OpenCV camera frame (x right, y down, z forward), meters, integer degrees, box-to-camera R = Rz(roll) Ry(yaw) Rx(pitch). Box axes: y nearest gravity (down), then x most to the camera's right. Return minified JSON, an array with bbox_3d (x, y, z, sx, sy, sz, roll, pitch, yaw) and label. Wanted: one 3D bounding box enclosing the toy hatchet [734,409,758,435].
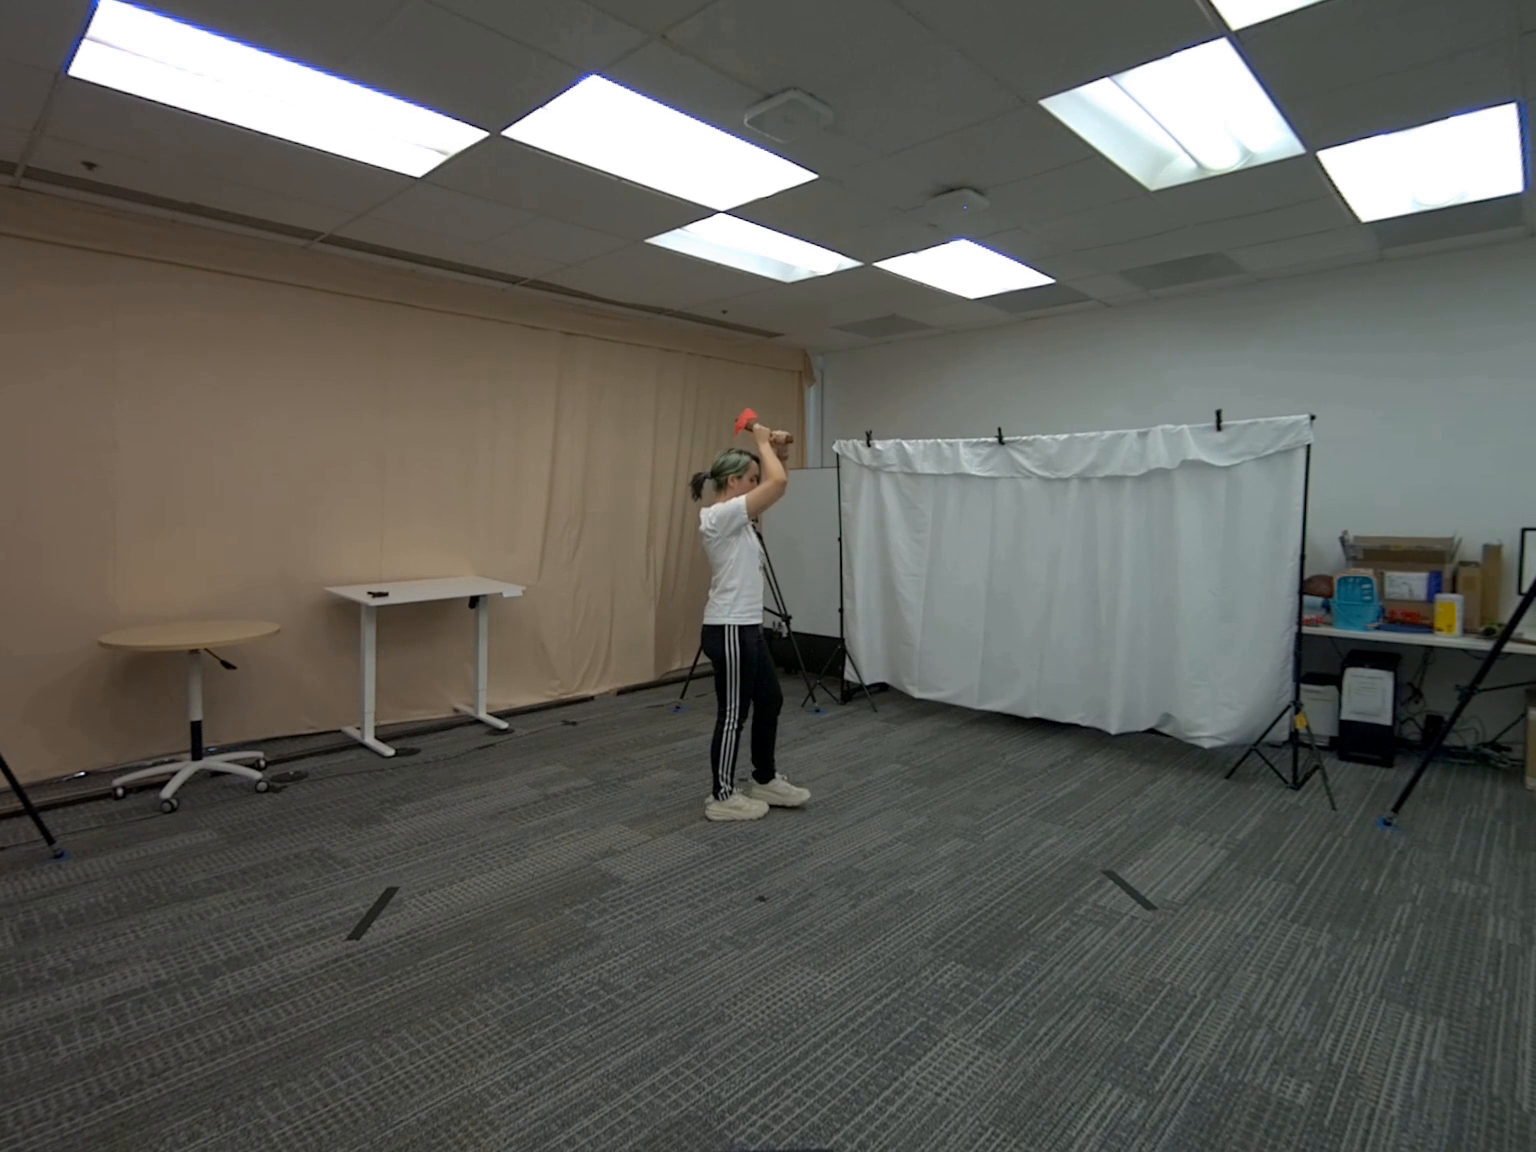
[{"bbox_3d":[-0.009,-0.662,3.710,0.273,0.131,0.029,8,-2,8],"label":"toy hatchet"}]
